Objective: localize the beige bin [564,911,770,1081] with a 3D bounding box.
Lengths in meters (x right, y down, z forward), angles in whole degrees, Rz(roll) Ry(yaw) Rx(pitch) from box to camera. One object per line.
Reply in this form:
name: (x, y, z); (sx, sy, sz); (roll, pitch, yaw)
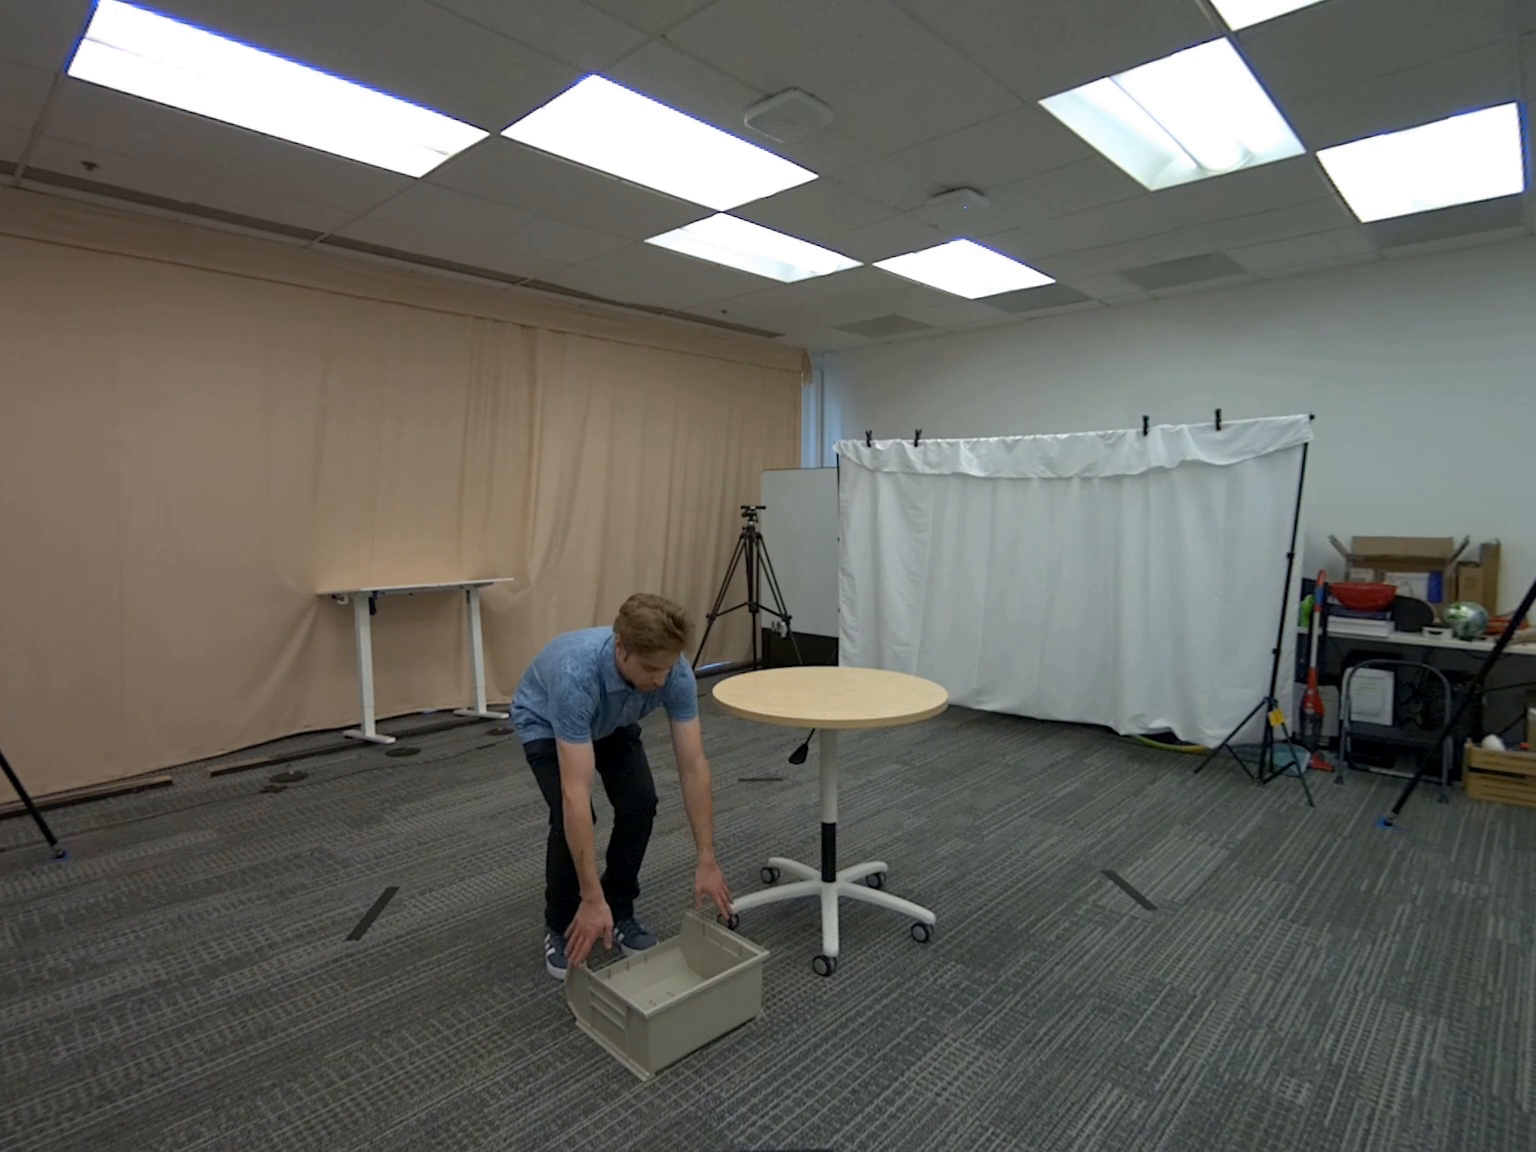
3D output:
beige bin: (-0.274, 1.118, 2.291); (0.409, 0.188, 0.390); (-4, 6, -43)
